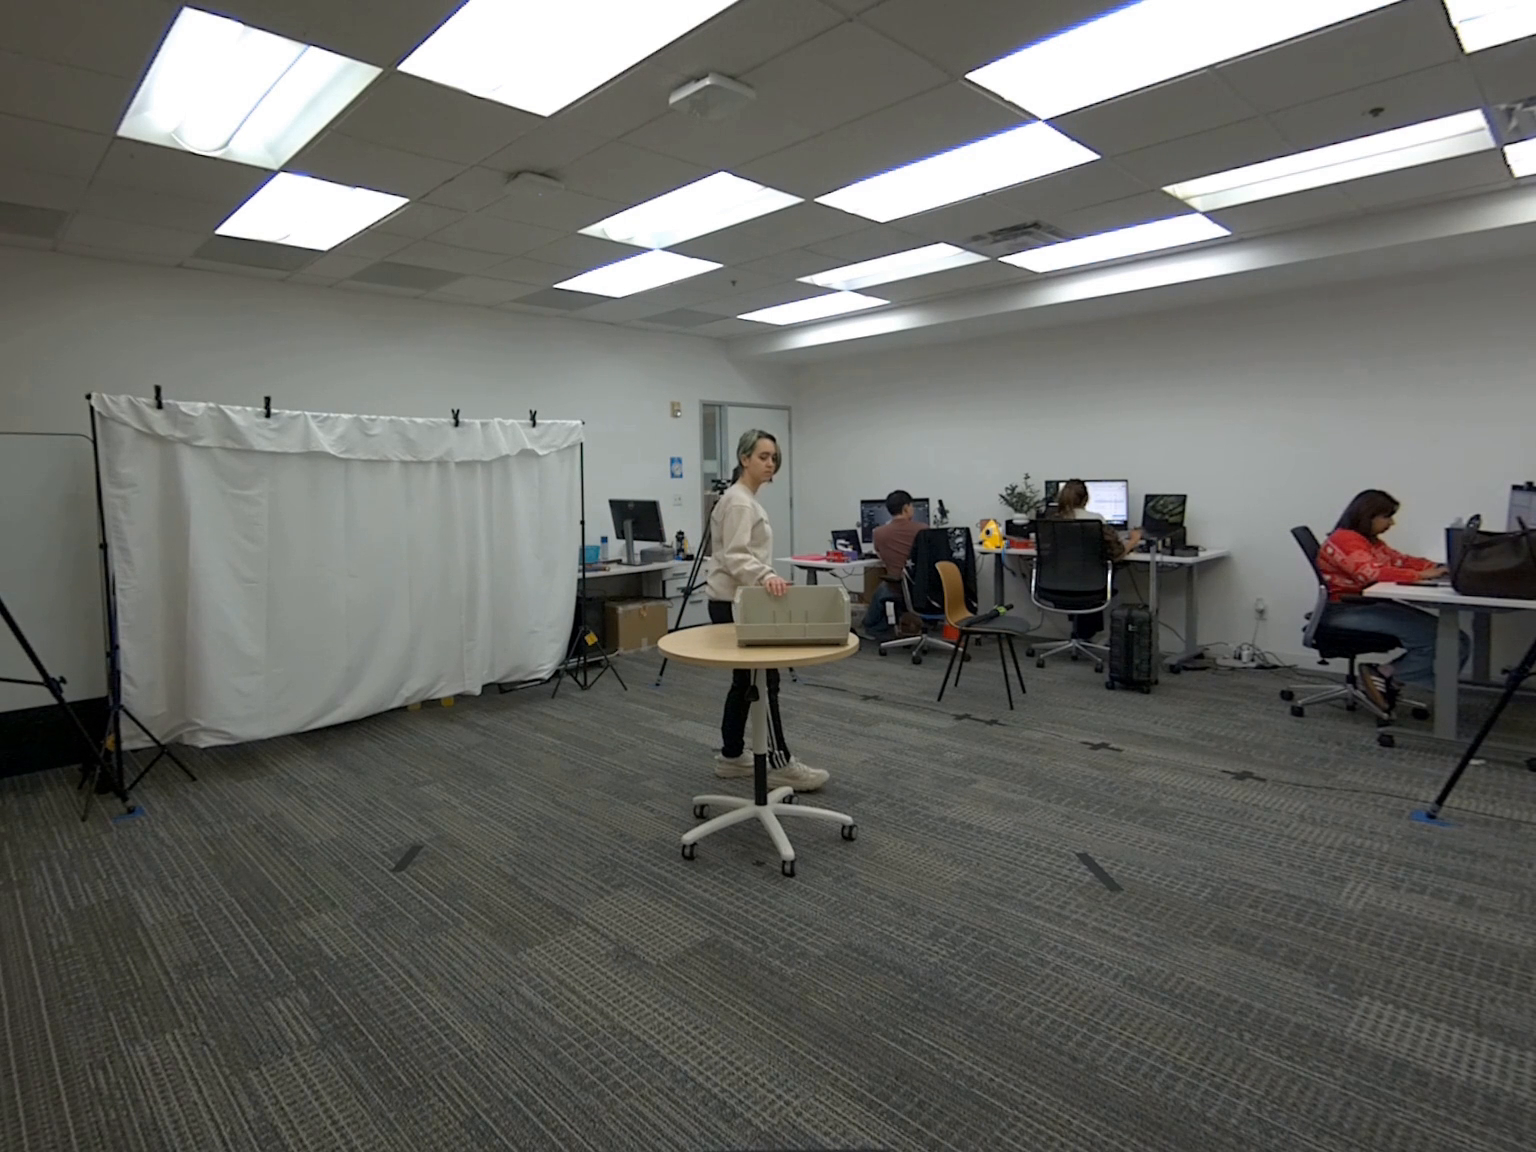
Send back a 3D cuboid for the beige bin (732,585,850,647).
[{"bbox_3d":[0.089,0.153,3.263,0.424,0.188,0.378,-2,5,2],"label":"beige bin"}]
